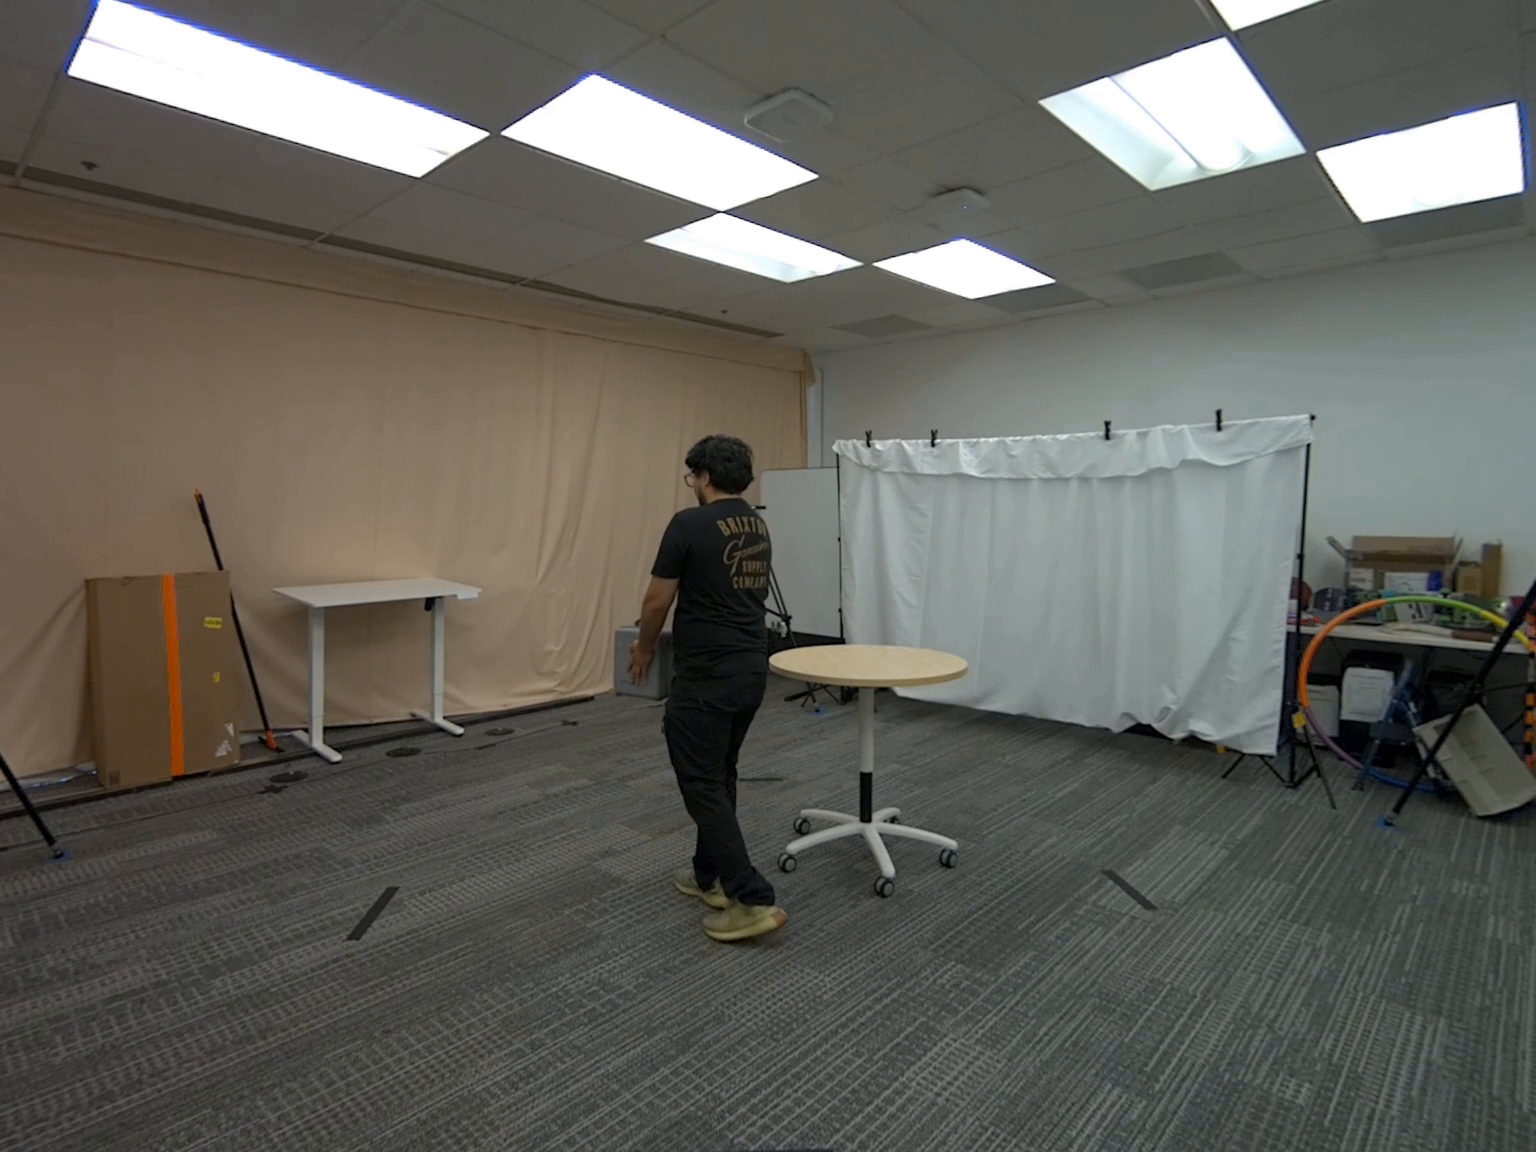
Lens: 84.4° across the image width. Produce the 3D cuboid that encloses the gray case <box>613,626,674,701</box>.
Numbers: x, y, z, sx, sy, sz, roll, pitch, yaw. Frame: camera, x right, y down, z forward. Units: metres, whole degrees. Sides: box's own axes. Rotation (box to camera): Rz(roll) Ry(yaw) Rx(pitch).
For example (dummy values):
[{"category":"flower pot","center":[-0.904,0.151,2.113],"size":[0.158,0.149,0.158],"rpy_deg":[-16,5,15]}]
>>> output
[{"category":"gray case","center":[-0.455,0.315,3.109],"size":[0.265,0.261,0.101],"rpy_deg":[0,-1,40]}]
